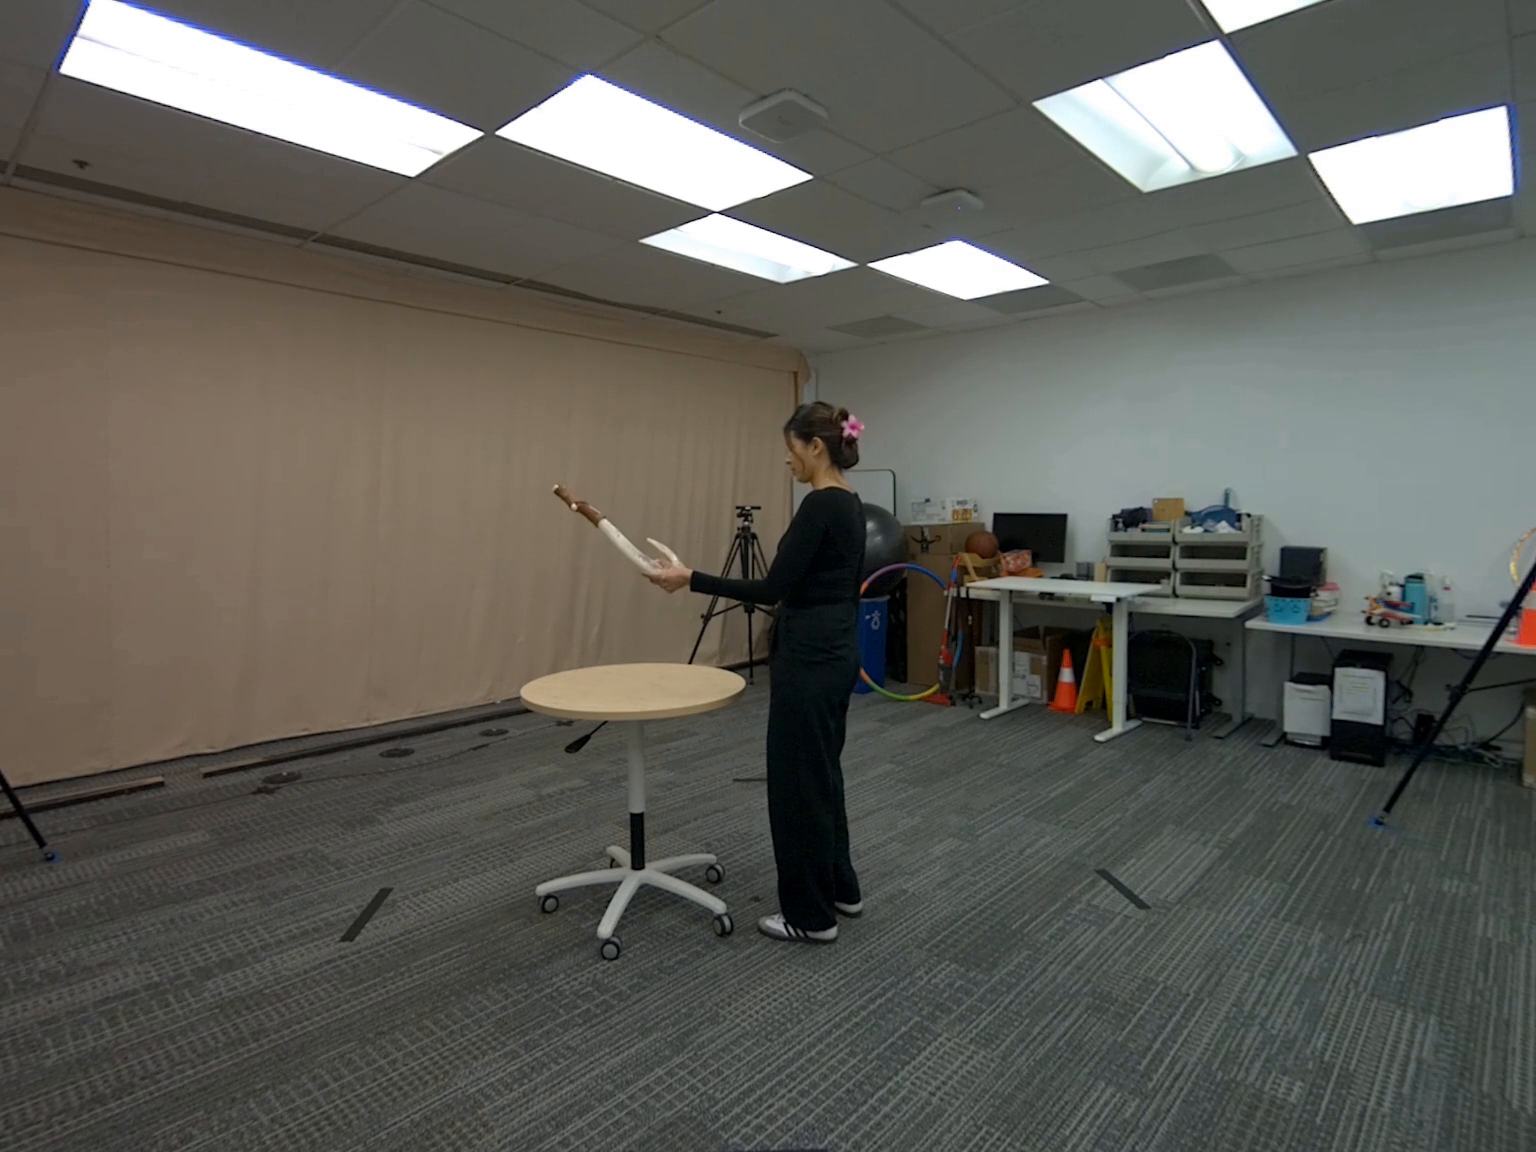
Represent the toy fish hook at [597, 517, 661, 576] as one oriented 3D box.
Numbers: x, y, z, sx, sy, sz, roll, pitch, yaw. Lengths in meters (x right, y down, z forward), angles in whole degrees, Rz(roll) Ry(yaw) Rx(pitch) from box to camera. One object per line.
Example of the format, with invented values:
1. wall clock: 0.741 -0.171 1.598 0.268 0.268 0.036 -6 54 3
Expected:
1. toy fish hook: -0.454 -0.139 2.657 0.515 0.048 0.220 39 16 13
